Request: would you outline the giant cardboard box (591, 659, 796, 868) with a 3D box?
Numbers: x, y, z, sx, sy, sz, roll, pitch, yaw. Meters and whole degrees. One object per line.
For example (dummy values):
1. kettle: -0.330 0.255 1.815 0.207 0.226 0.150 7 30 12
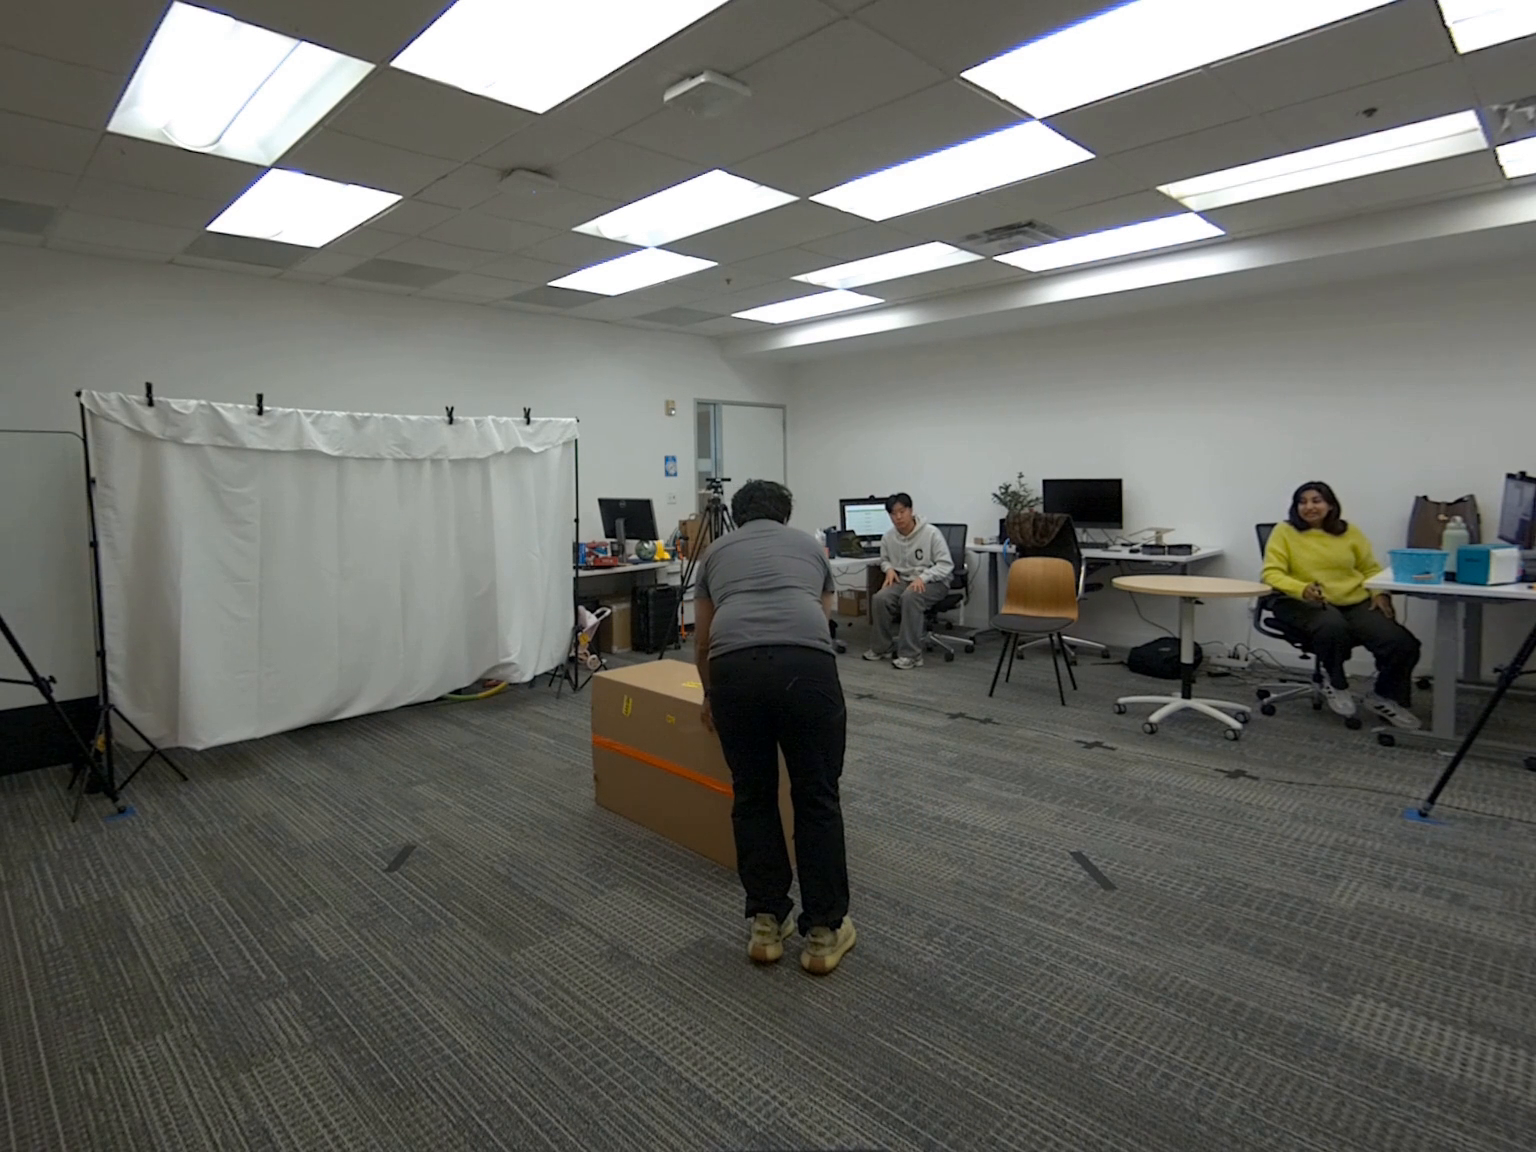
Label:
1. giant cardboard box: -0.247 0.725 3.447 0.415 0.575 1.058 -5 7 -43
